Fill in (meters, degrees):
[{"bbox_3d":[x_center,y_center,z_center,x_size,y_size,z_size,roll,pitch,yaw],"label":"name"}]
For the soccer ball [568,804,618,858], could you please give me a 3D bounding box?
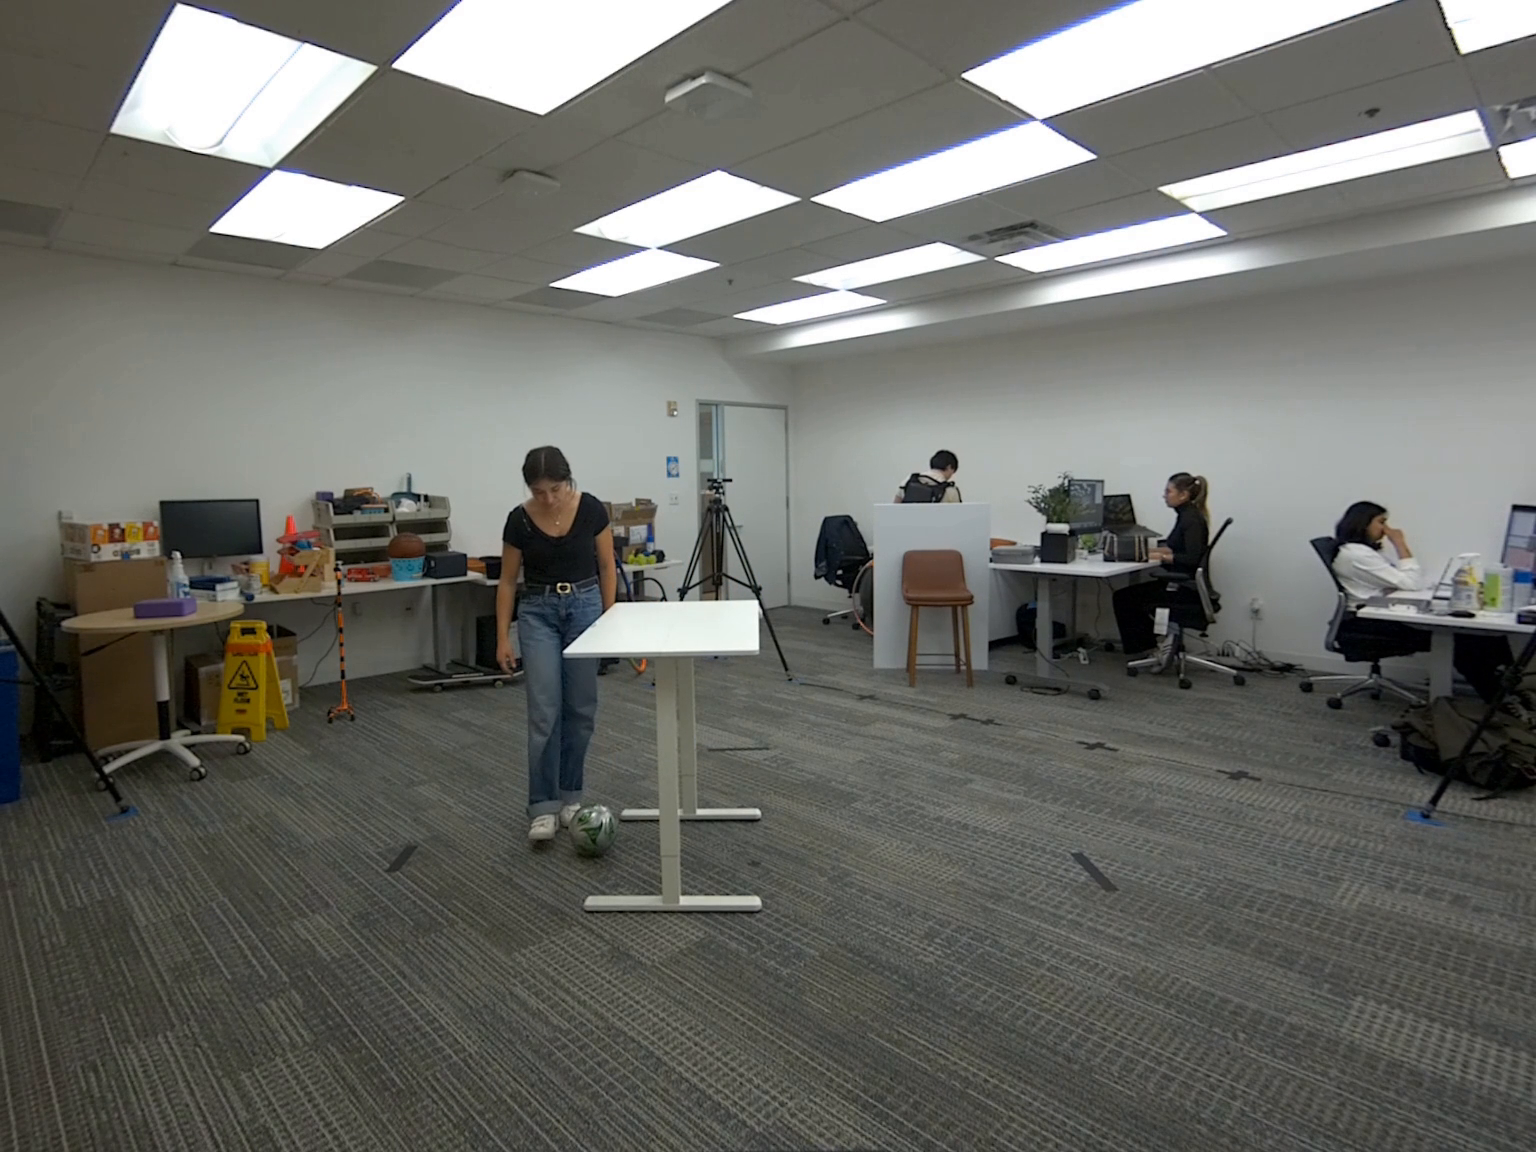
[{"bbox_3d":[-0.650,0.953,3.212,0.187,0.187,0.188,-1,5,-2],"label":"soccer ball"}]
